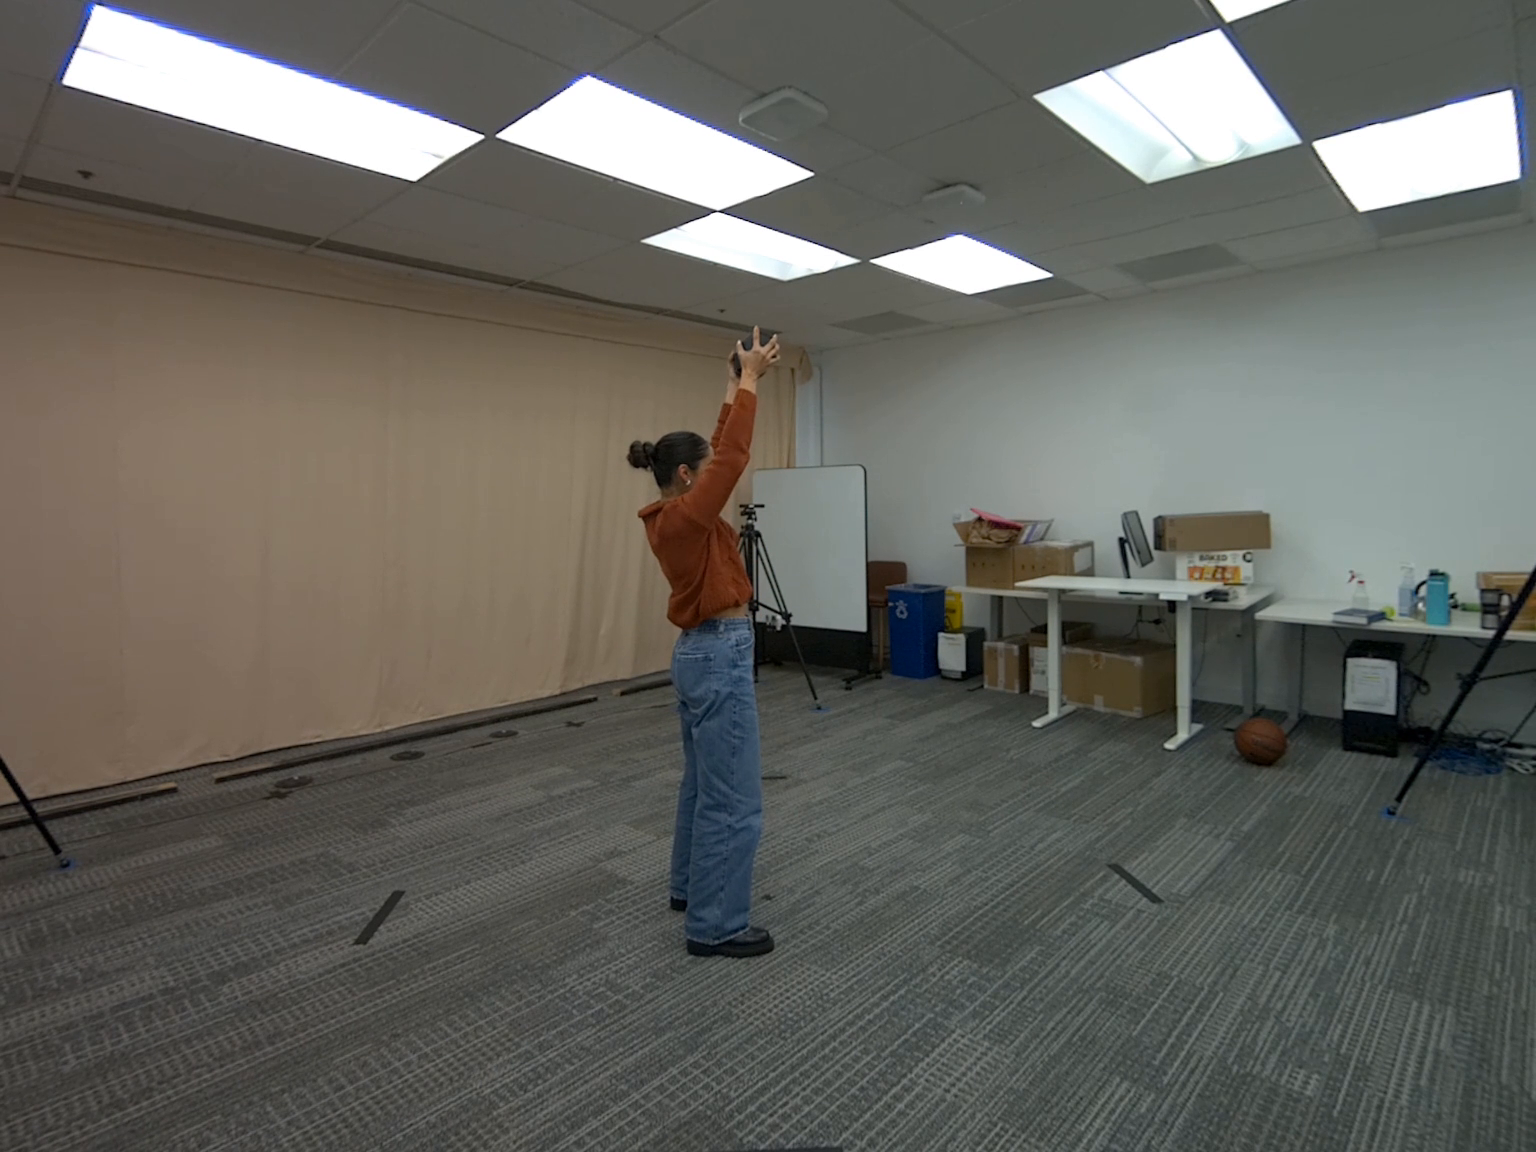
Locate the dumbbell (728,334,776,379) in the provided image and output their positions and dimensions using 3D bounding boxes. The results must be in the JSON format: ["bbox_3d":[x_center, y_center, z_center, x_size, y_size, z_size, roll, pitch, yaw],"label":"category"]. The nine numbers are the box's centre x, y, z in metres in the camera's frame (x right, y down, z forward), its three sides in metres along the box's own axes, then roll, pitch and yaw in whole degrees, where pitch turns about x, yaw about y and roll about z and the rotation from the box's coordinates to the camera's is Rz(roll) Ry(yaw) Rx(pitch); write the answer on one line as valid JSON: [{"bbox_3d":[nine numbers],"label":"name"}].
[{"bbox_3d":[-0.045,-0.712,2.732,0.108,0.122,0.296,-6,7,-6],"label":"dumbbell"}]
